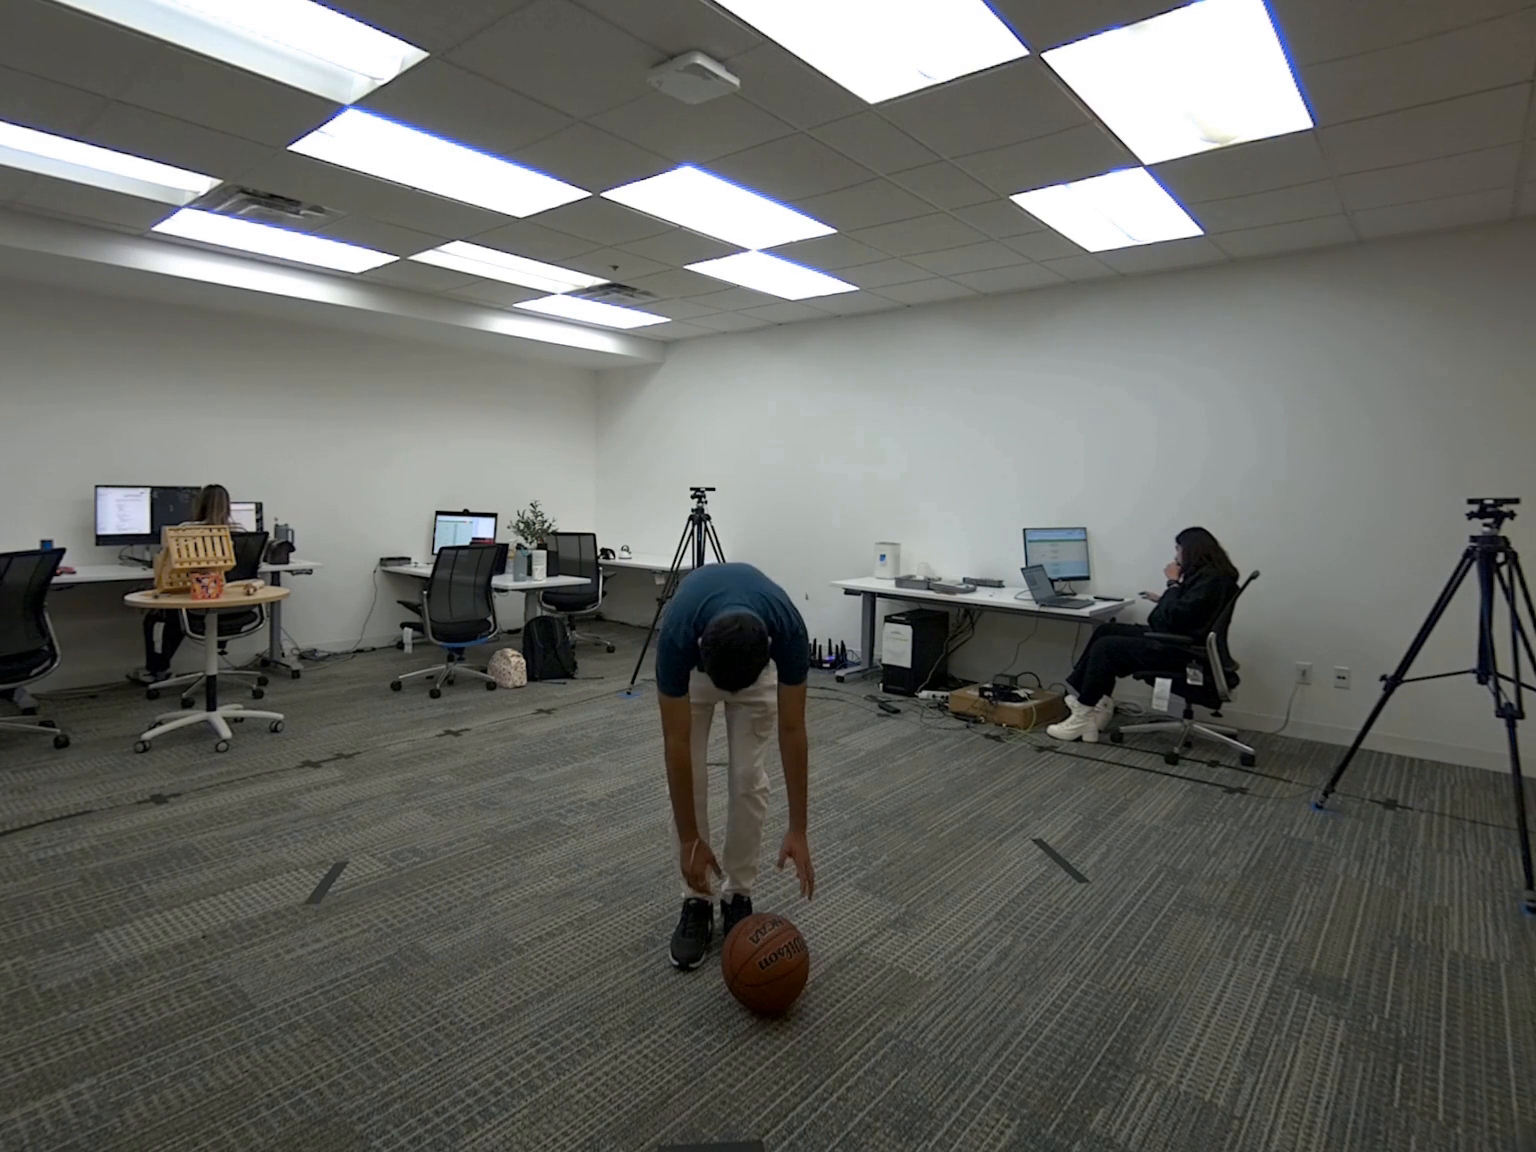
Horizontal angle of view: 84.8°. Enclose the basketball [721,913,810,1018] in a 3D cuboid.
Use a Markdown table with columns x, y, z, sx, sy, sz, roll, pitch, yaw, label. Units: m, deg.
| x | y | z | sx | sy | sz | roll | pitch | yaw | label |
| --- | --- | --- | --- | --- | --- | --- | --- | --- | --- |
| -0.008 | 1.032 | 2.287 | 0.235 | 0.235 | 0.237 | 1 | 4 | -2 | basketball |
